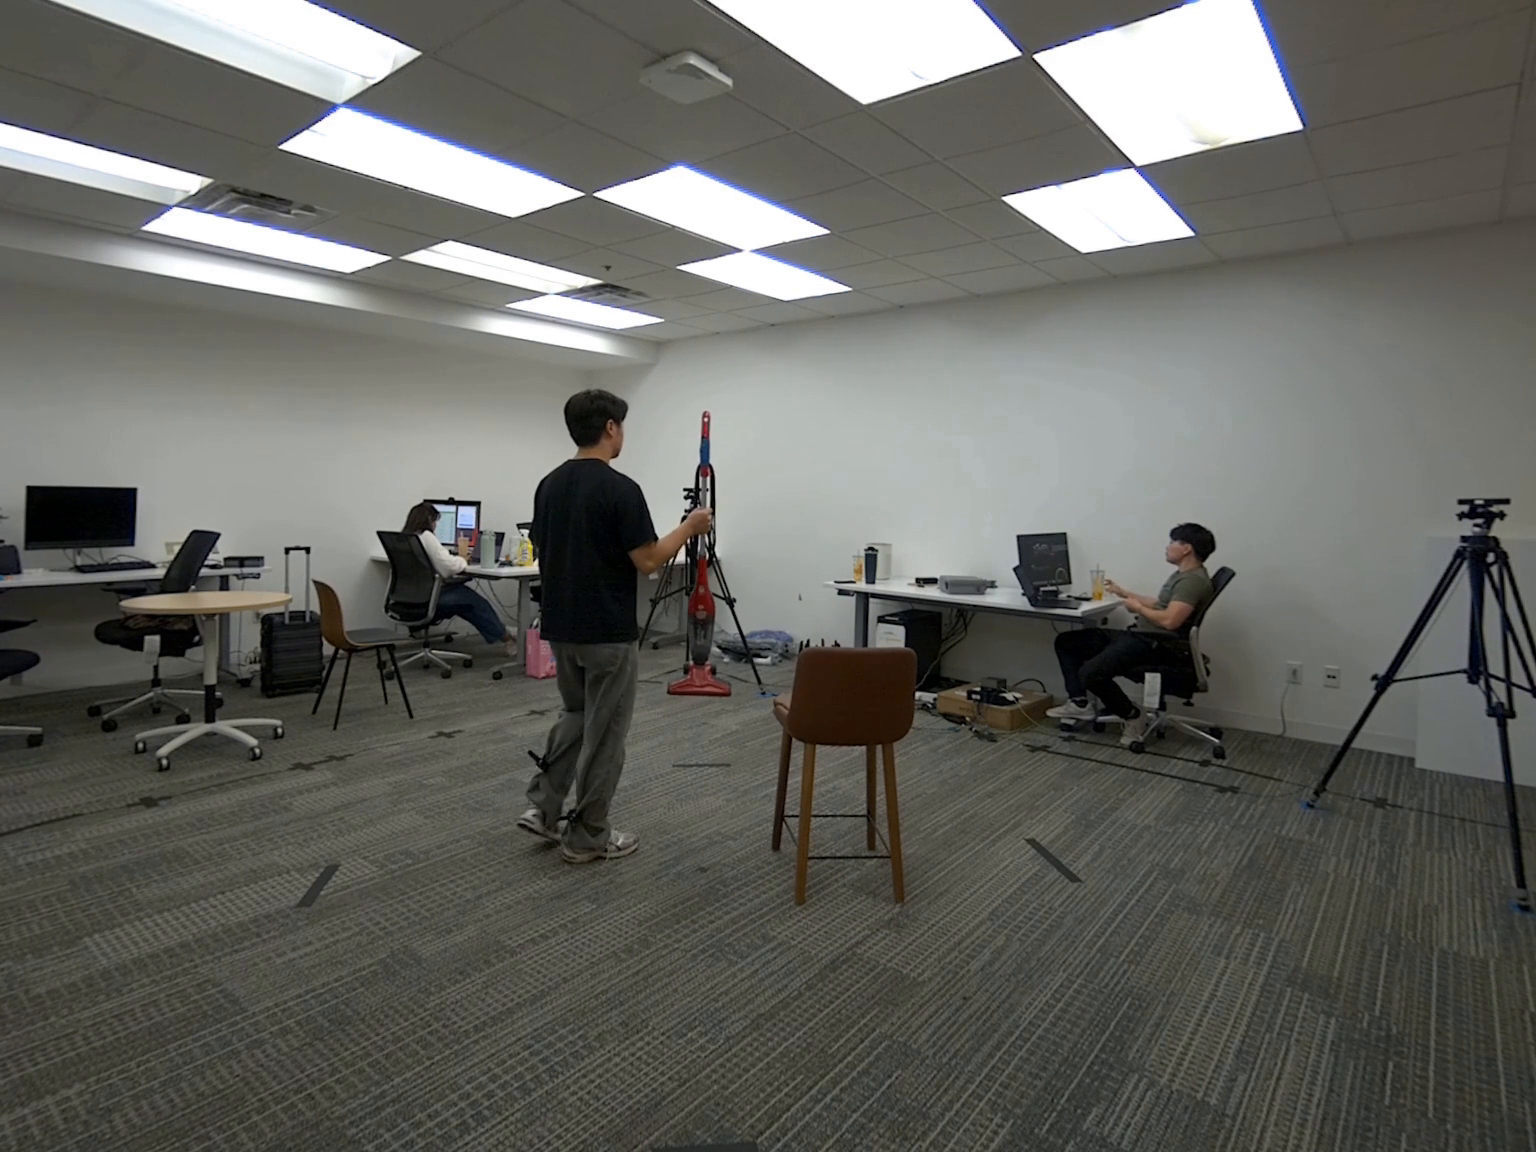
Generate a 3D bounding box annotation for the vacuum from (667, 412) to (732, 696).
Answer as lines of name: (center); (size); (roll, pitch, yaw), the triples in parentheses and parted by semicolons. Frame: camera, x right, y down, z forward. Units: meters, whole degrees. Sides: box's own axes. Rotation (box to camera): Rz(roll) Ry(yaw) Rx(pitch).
vacuum: (-0.266, -0.096, 3.286); (0.249, 1.041, 0.147); (1, 8, -11)
